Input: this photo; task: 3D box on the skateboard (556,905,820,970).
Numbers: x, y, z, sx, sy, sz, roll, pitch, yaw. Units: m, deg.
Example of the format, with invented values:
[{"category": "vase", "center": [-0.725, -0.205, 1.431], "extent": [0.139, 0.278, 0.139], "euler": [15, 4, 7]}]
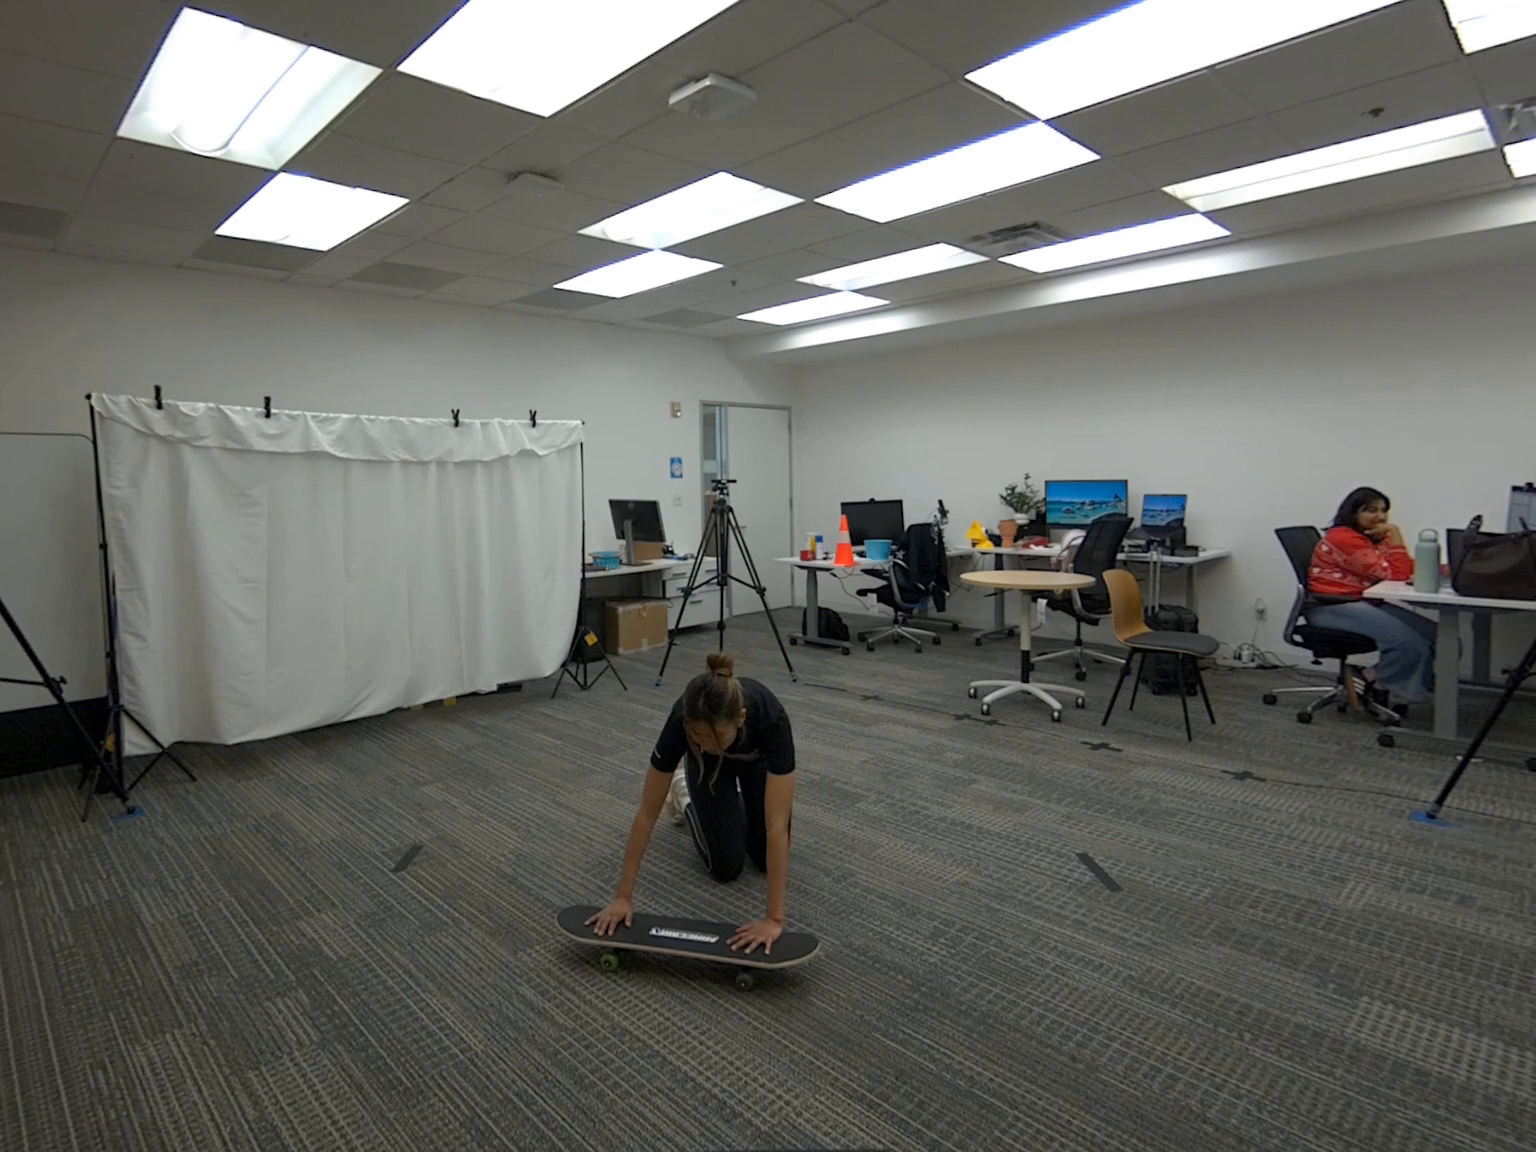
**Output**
[{"category": "skateboard", "center": [-0.237, 1.065, 2.473], "extent": [0.796, 0.110, 0.191], "euler": [0, 5, 14]}]
